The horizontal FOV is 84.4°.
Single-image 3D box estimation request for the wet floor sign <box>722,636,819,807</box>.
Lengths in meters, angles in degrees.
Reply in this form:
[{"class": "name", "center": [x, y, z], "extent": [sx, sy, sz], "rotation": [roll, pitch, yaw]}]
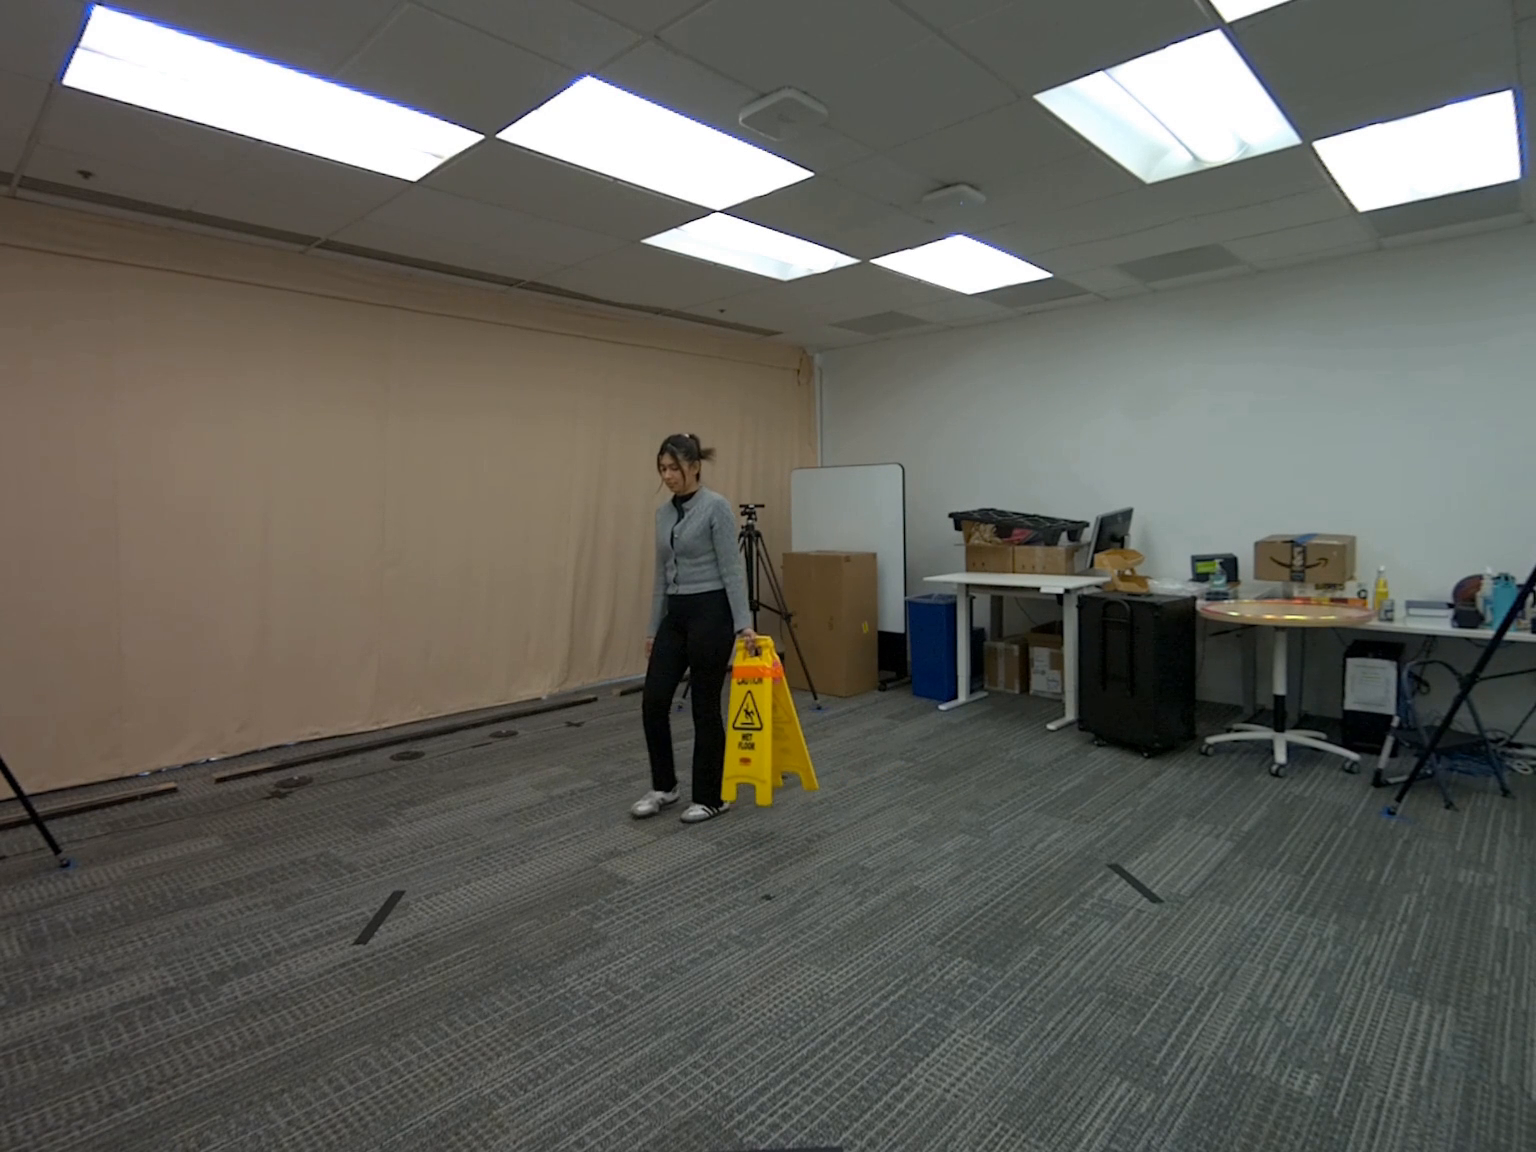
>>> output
[{"class": "wet floor sign", "center": [-0.022, 0.575, 3.468], "extent": [0.281, 0.648, 0.290], "rotation": [-3, -7, -45]}]
